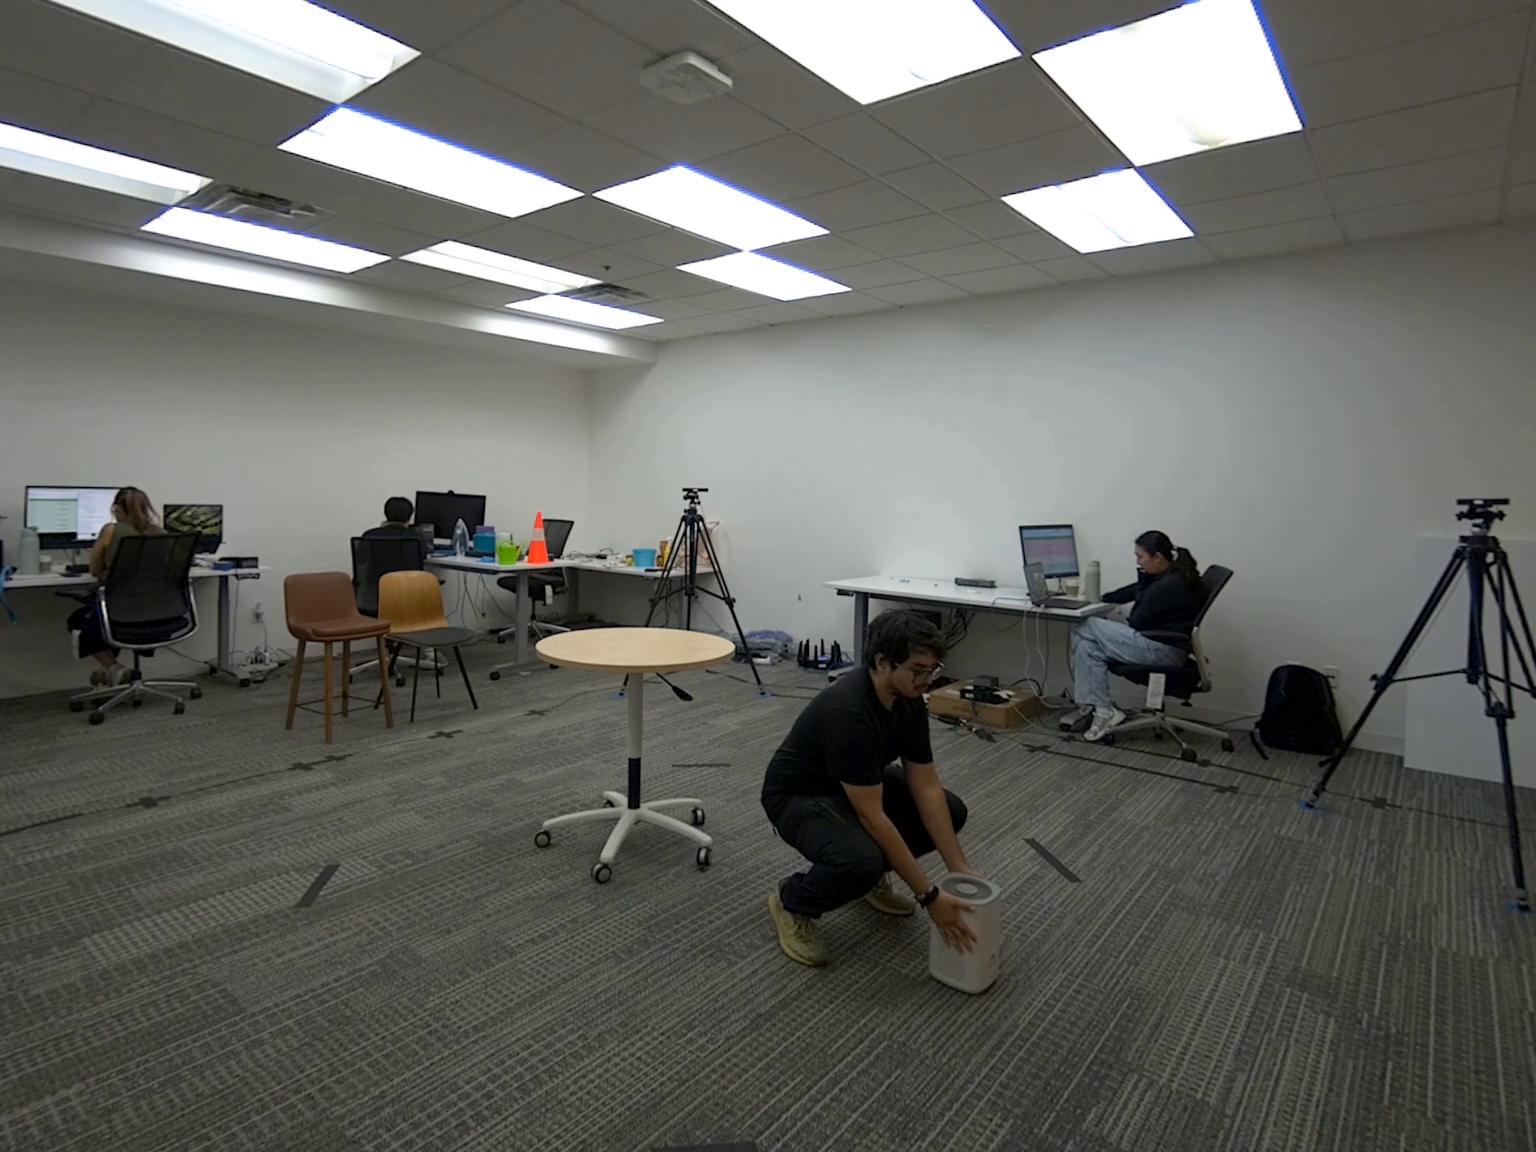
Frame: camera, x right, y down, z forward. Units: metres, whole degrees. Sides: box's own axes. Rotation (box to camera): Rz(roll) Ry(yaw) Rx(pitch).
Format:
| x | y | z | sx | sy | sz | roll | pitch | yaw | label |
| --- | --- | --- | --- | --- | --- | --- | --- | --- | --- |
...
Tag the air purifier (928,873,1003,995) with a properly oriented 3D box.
| x | y | z | sx | sy | sz | roll | pitch | yaw | label |
| --- | --- | --- | --- | --- | --- | --- | --- | --- | --- |
| 0.562 | 1.023 | 2.438 | 0.177 | 0.264 | 0.166 | 4 | 4 | 38 | air purifier |
